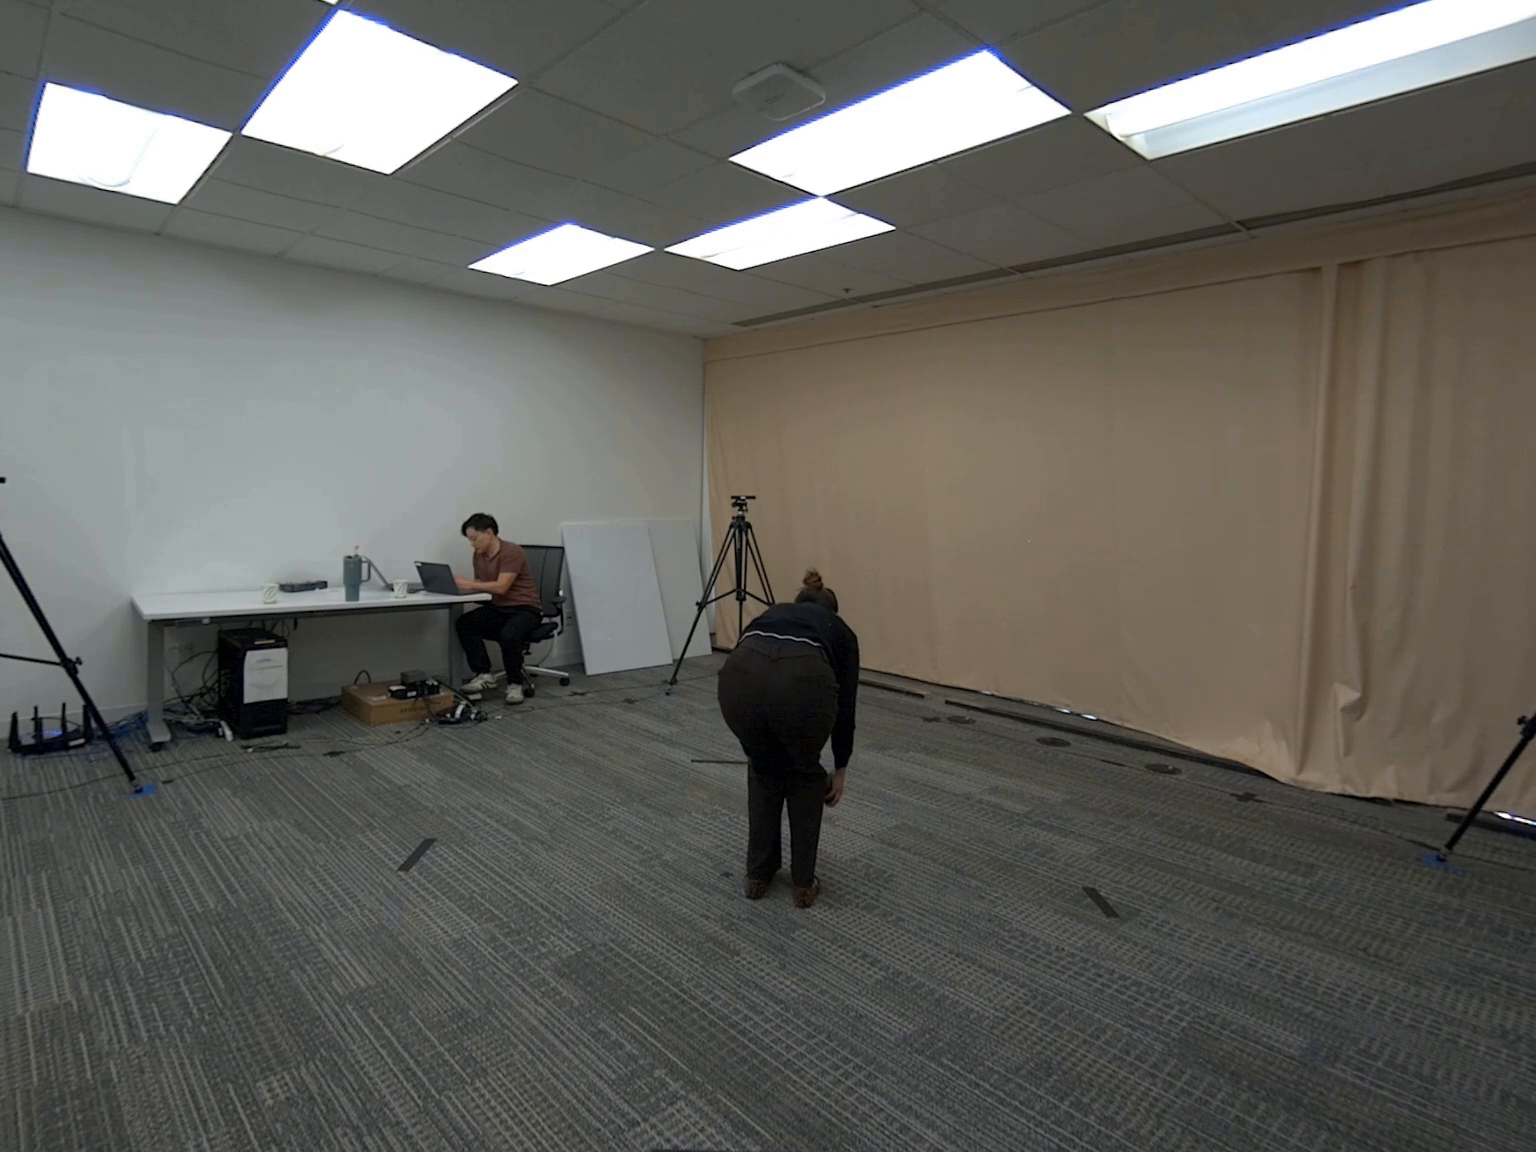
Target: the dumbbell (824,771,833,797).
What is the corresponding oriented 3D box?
[{"bbox_3d":[0.104,0.793,3.173,0.296,0.110,0.120,3,-21,12],"label":"dumbbell"}]
